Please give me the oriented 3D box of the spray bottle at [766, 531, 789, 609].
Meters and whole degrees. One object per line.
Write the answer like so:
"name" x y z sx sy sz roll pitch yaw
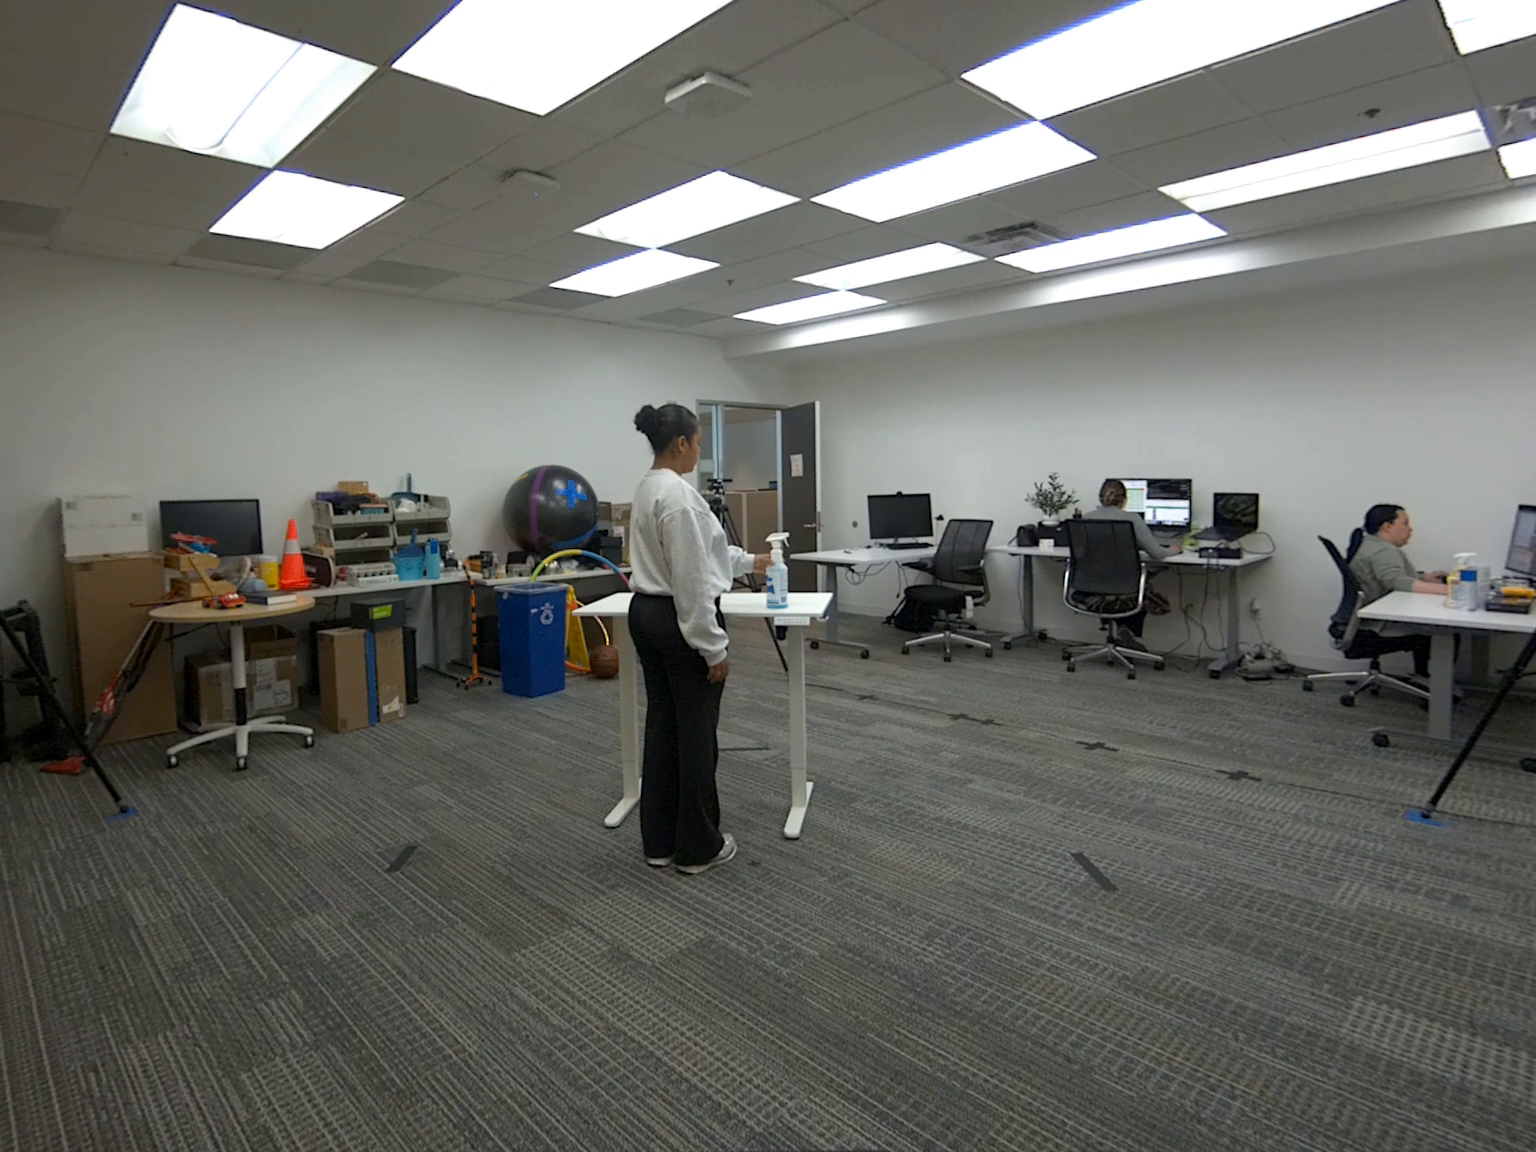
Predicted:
"spray bottle" 0.034 -0.020 3.393 0.092 0.296 0.085 2 5 25
